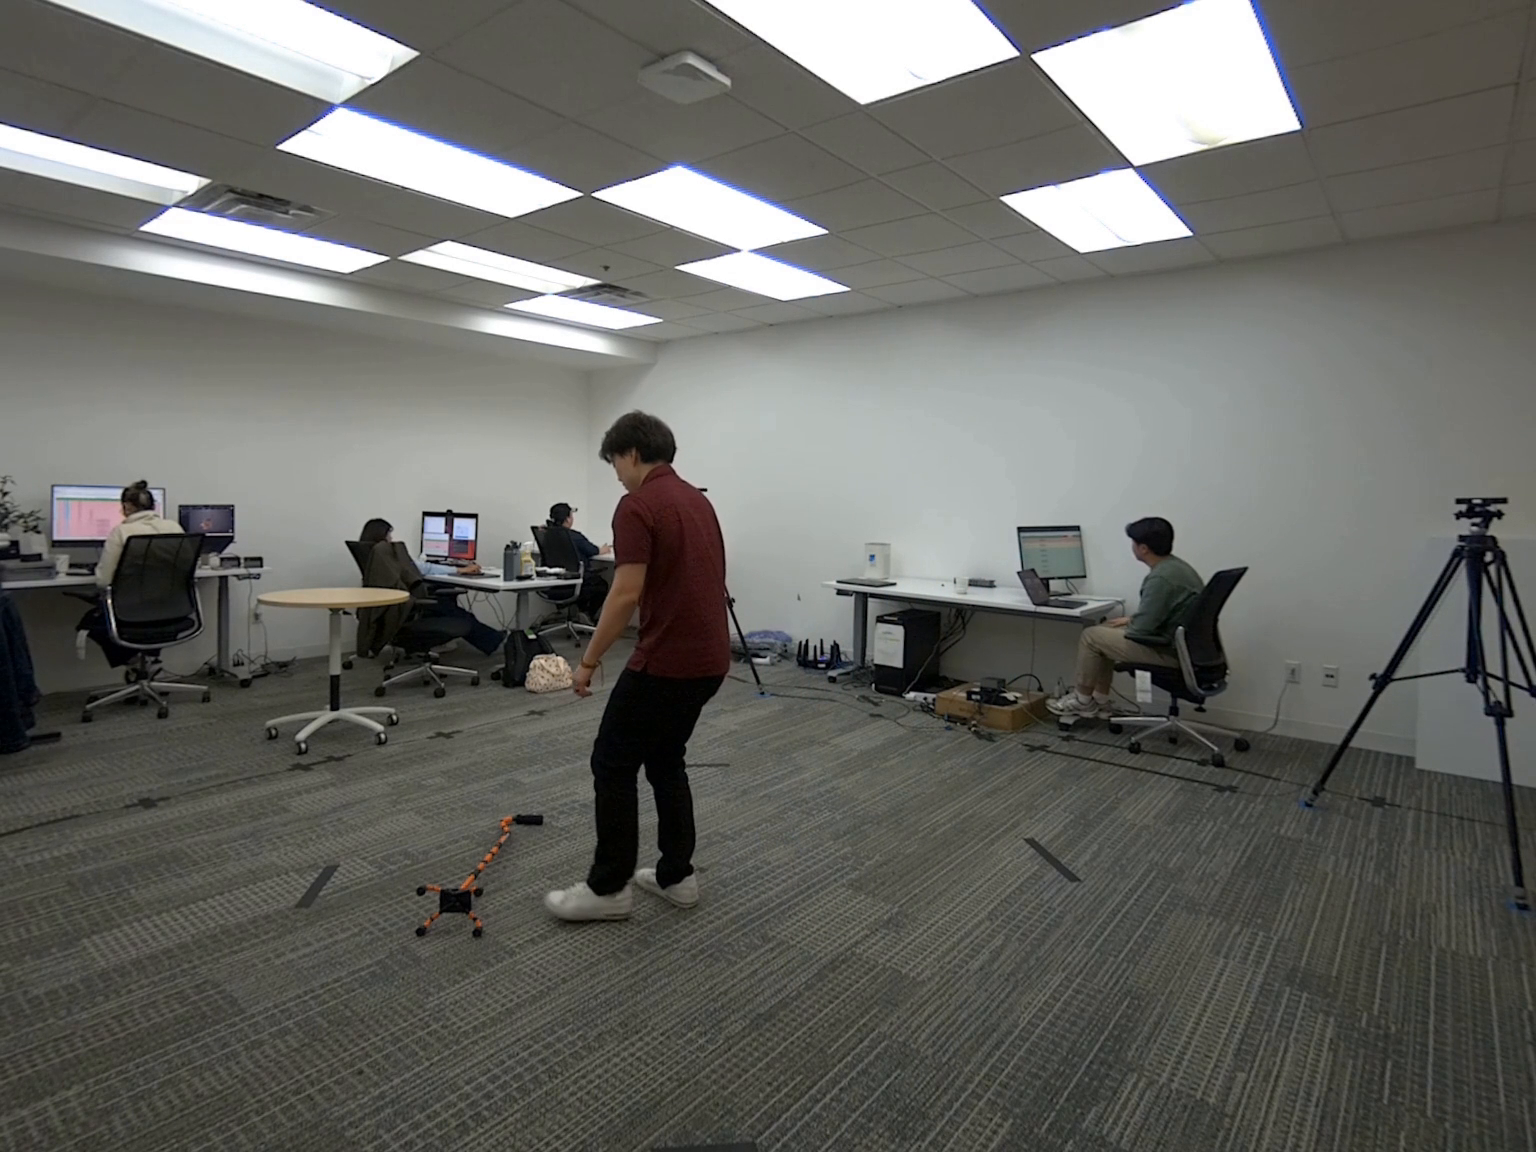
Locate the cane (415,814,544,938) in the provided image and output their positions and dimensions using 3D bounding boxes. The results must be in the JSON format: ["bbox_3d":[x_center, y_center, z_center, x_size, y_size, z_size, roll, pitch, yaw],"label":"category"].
[{"bbox_3d":[-1.017,1.018,3.072,0.206,0.151,0.908,1,1,-2],"label":"cane"}]
